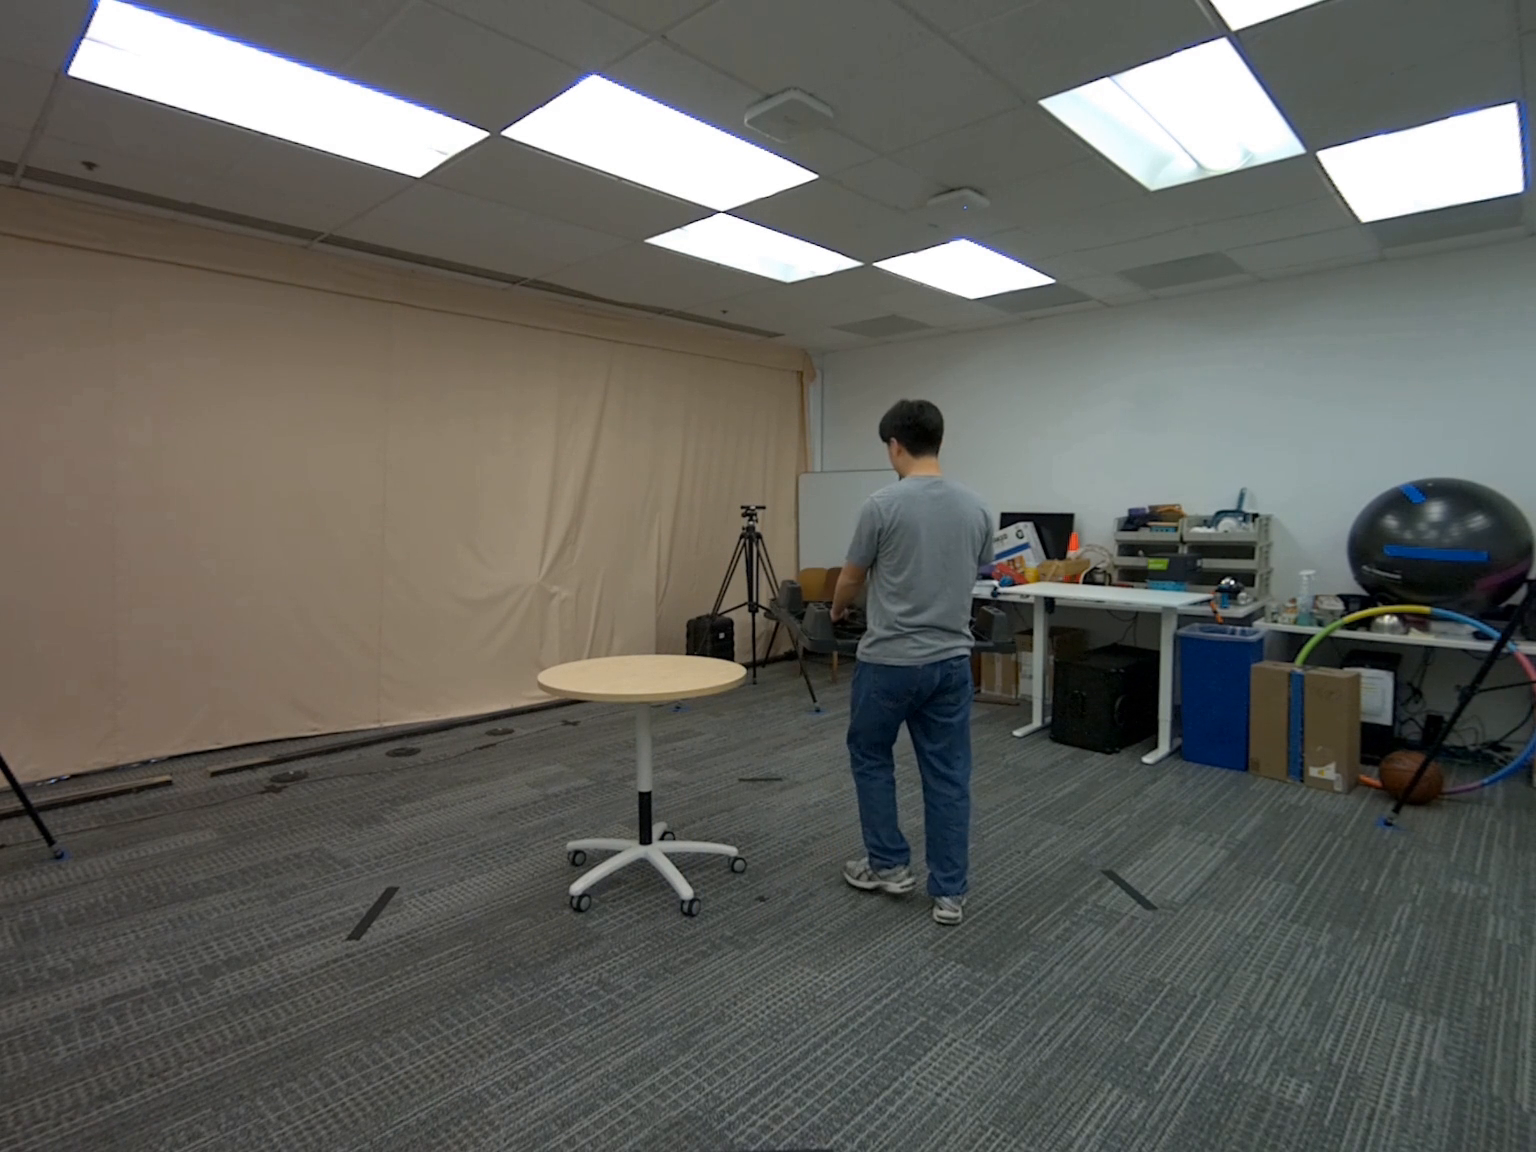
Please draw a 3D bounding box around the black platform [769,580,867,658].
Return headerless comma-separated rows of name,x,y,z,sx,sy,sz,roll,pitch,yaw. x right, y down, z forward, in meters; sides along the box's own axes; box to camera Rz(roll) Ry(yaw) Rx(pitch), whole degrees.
black platform,0.463,0.147,3.259,0.796,0.142,0.616,2,12,-11
